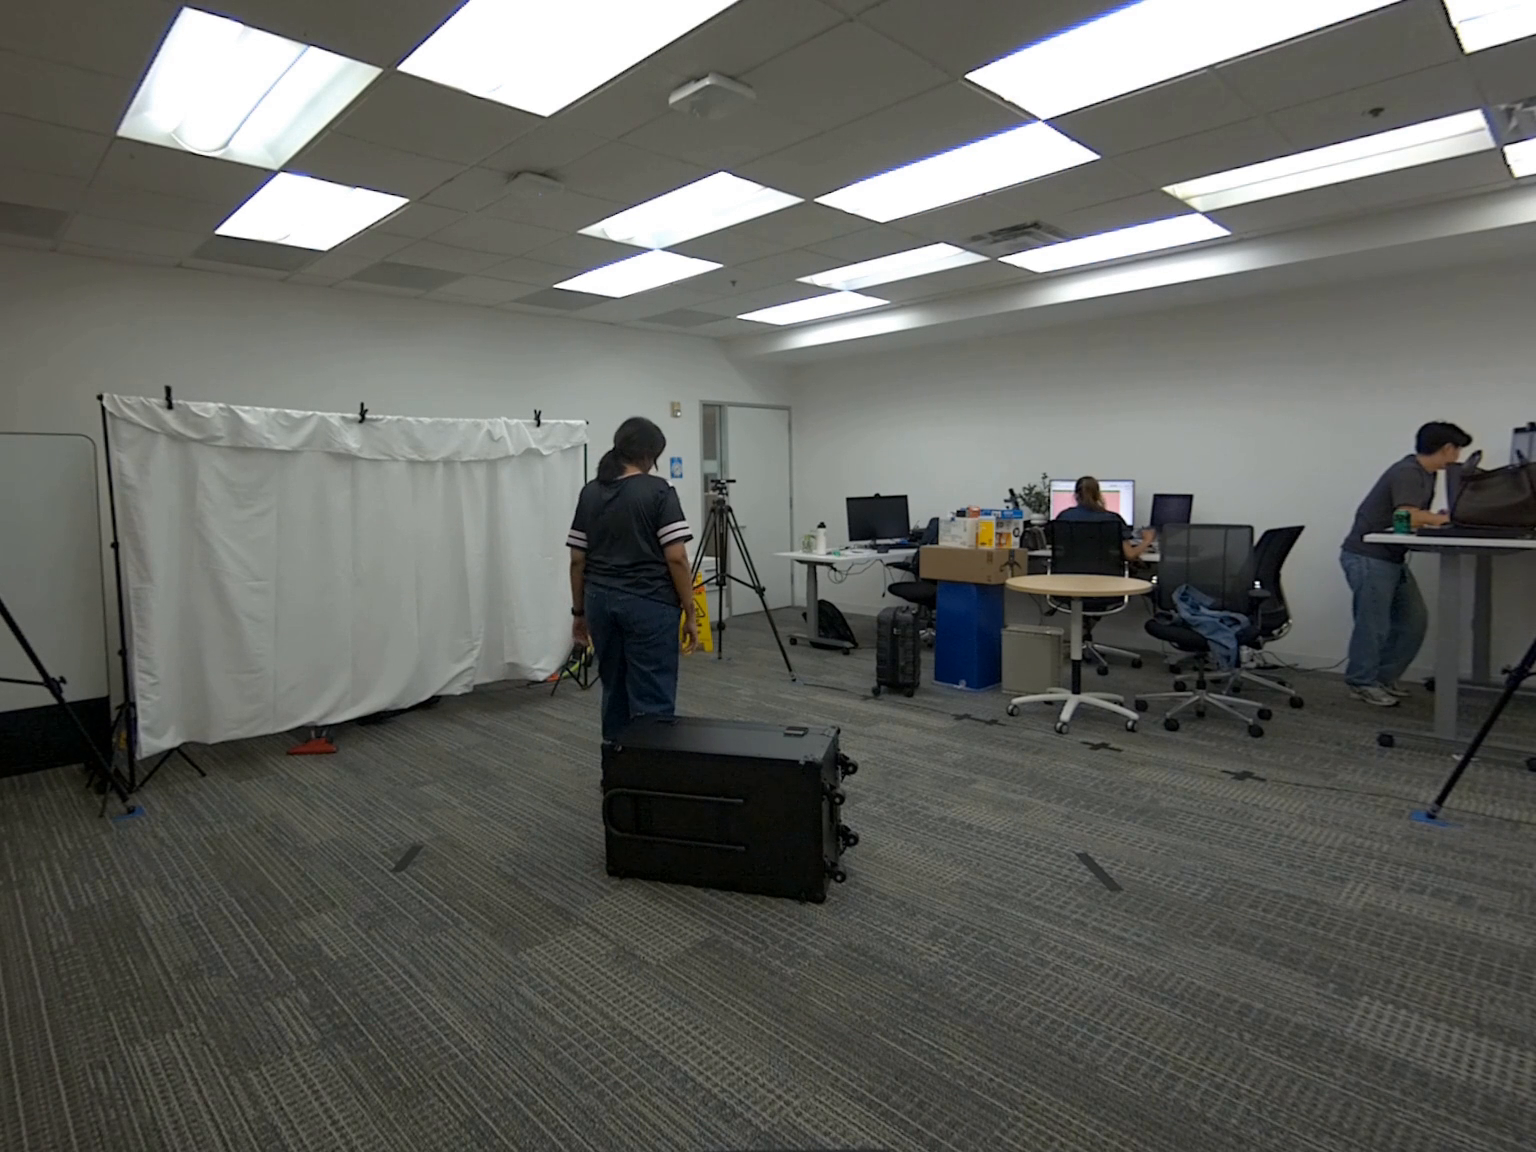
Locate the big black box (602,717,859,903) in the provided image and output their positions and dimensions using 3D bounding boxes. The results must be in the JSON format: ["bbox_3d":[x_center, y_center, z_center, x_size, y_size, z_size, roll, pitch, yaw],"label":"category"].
[{"bbox_3d":[-0.122,0.799,3.045,0.883,0.521,0.381,1,5,17],"label":"big black box"}]
